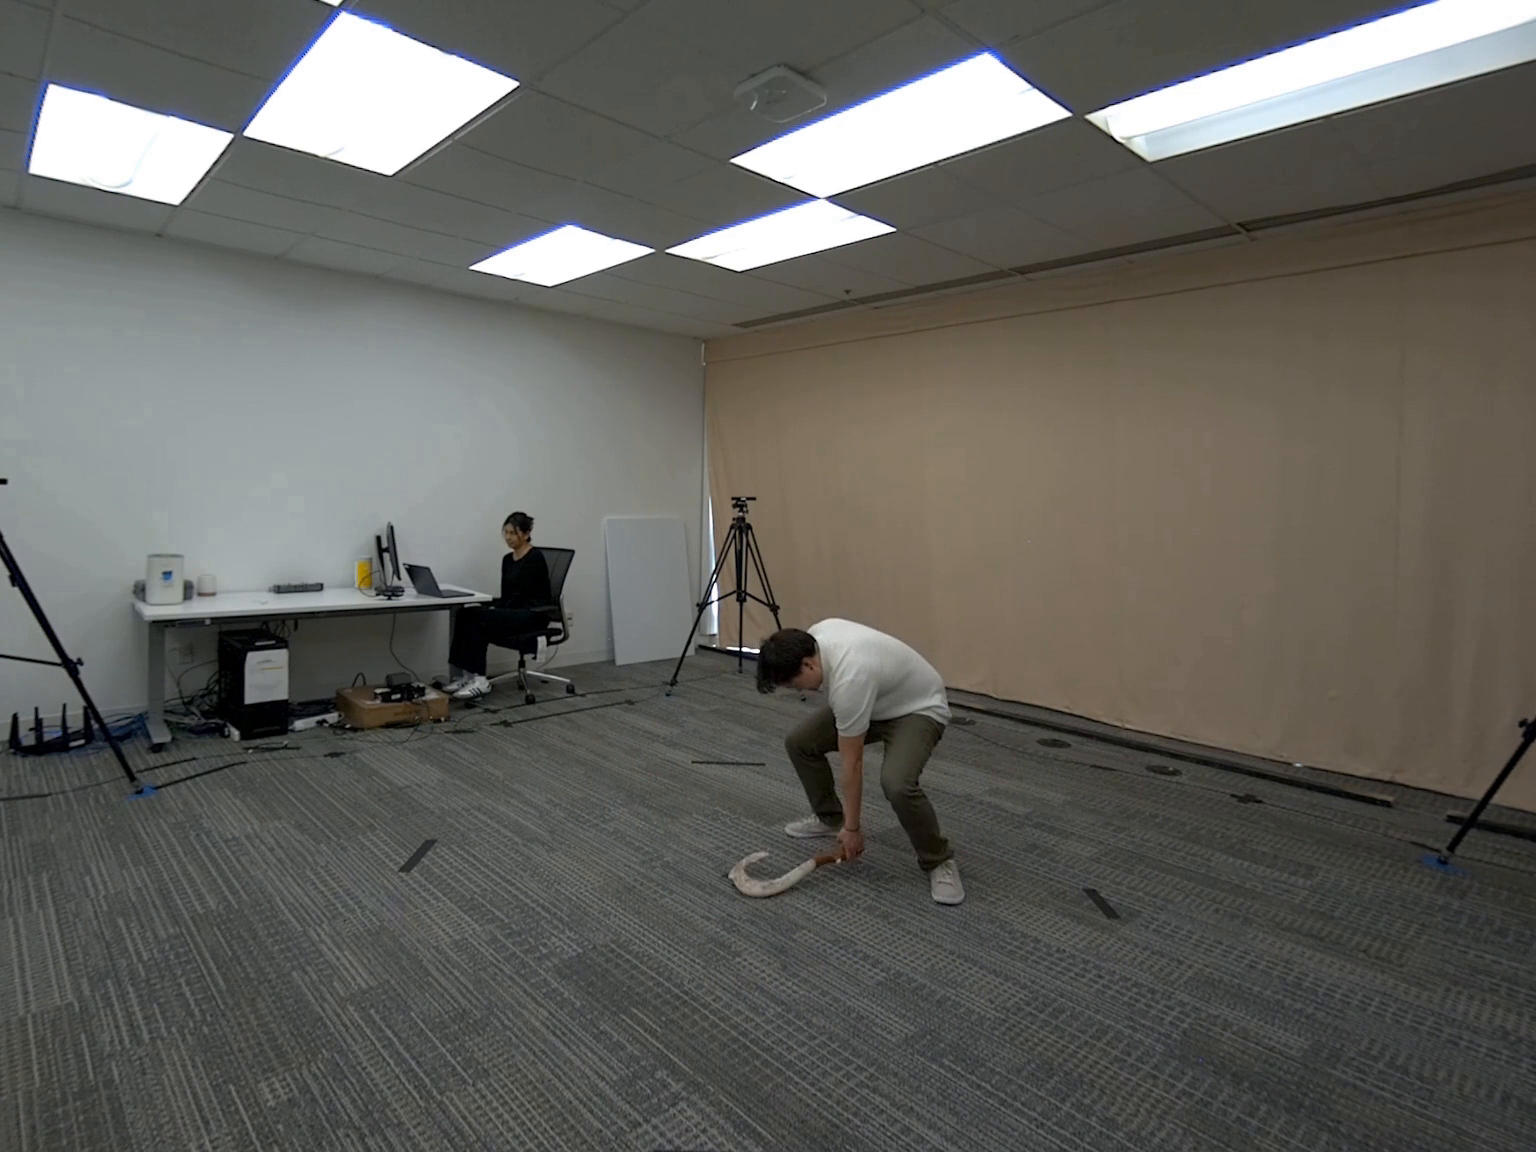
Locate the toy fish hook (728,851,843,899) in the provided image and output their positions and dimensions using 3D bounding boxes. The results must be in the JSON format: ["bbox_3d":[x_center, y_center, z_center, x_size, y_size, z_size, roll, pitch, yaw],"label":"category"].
[{"bbox_3d":[0.090,1.050,3.103,0.498,0.048,0.231,-8,20,-26],"label":"toy fish hook"}]
